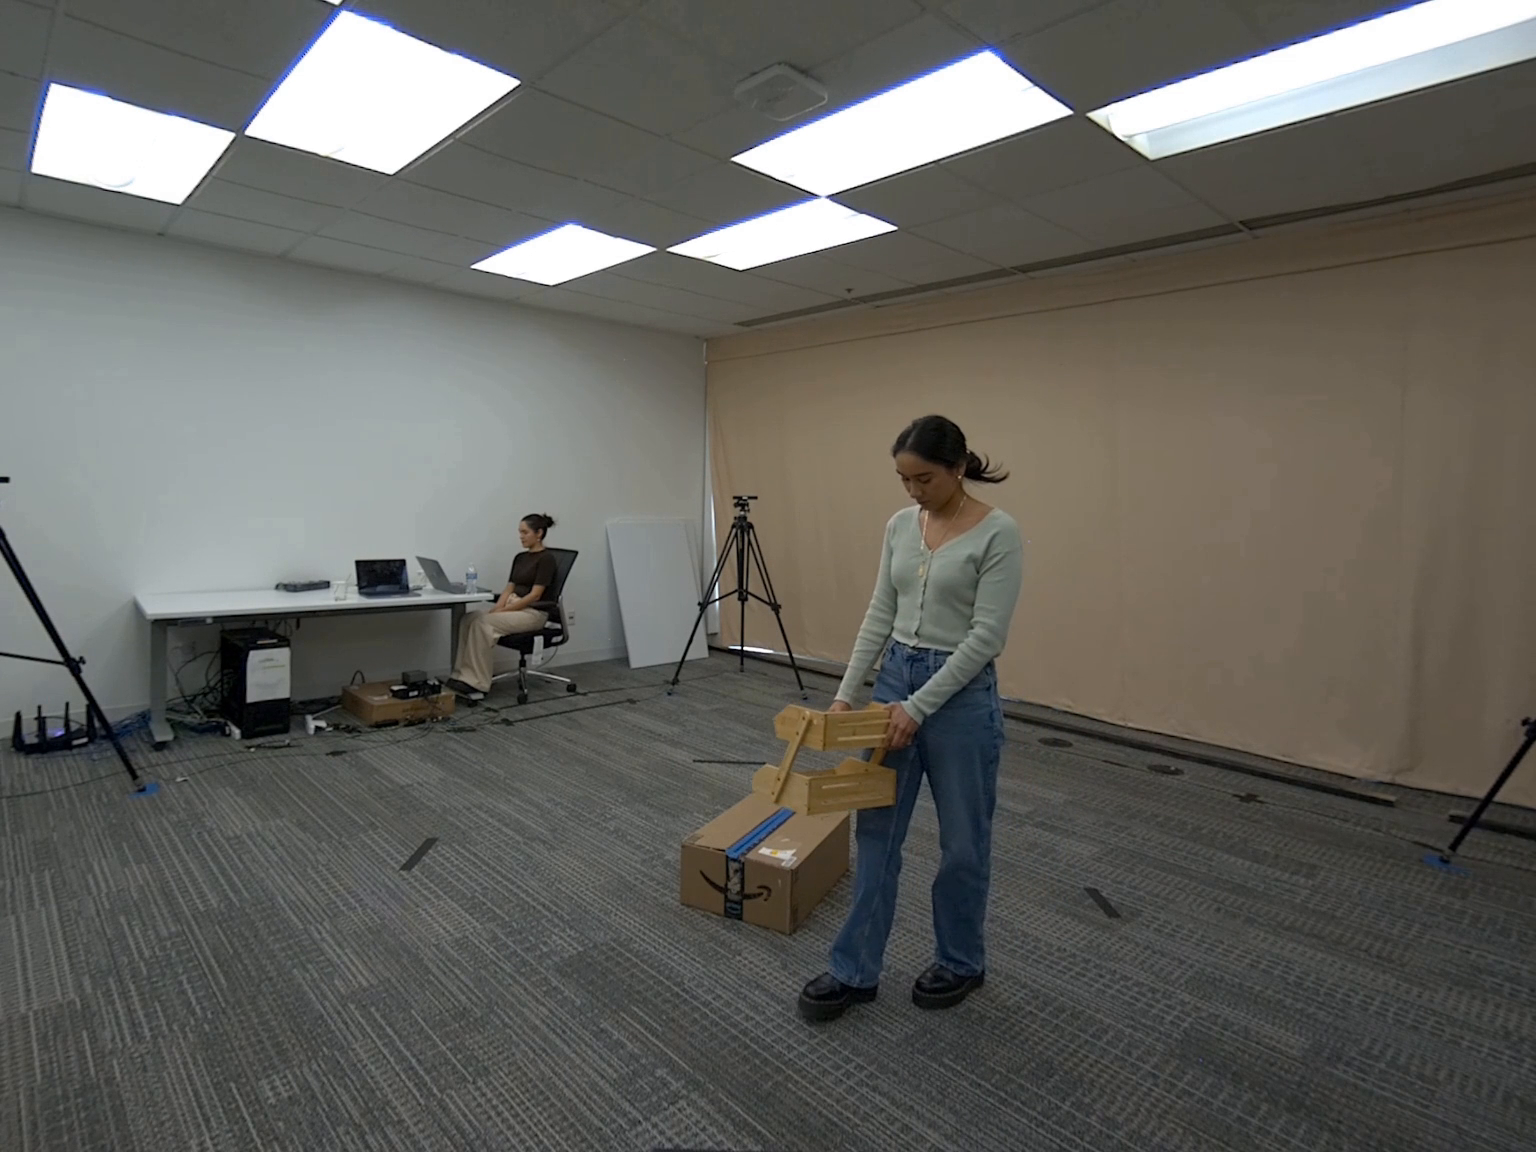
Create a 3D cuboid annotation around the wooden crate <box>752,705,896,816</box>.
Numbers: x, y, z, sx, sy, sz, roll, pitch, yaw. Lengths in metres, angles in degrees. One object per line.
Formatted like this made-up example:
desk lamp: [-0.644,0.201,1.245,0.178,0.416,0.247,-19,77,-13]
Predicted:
wooden crate: [0.161,0.467,2.257,0.317,0.274,0.308,3,-2,-34]
